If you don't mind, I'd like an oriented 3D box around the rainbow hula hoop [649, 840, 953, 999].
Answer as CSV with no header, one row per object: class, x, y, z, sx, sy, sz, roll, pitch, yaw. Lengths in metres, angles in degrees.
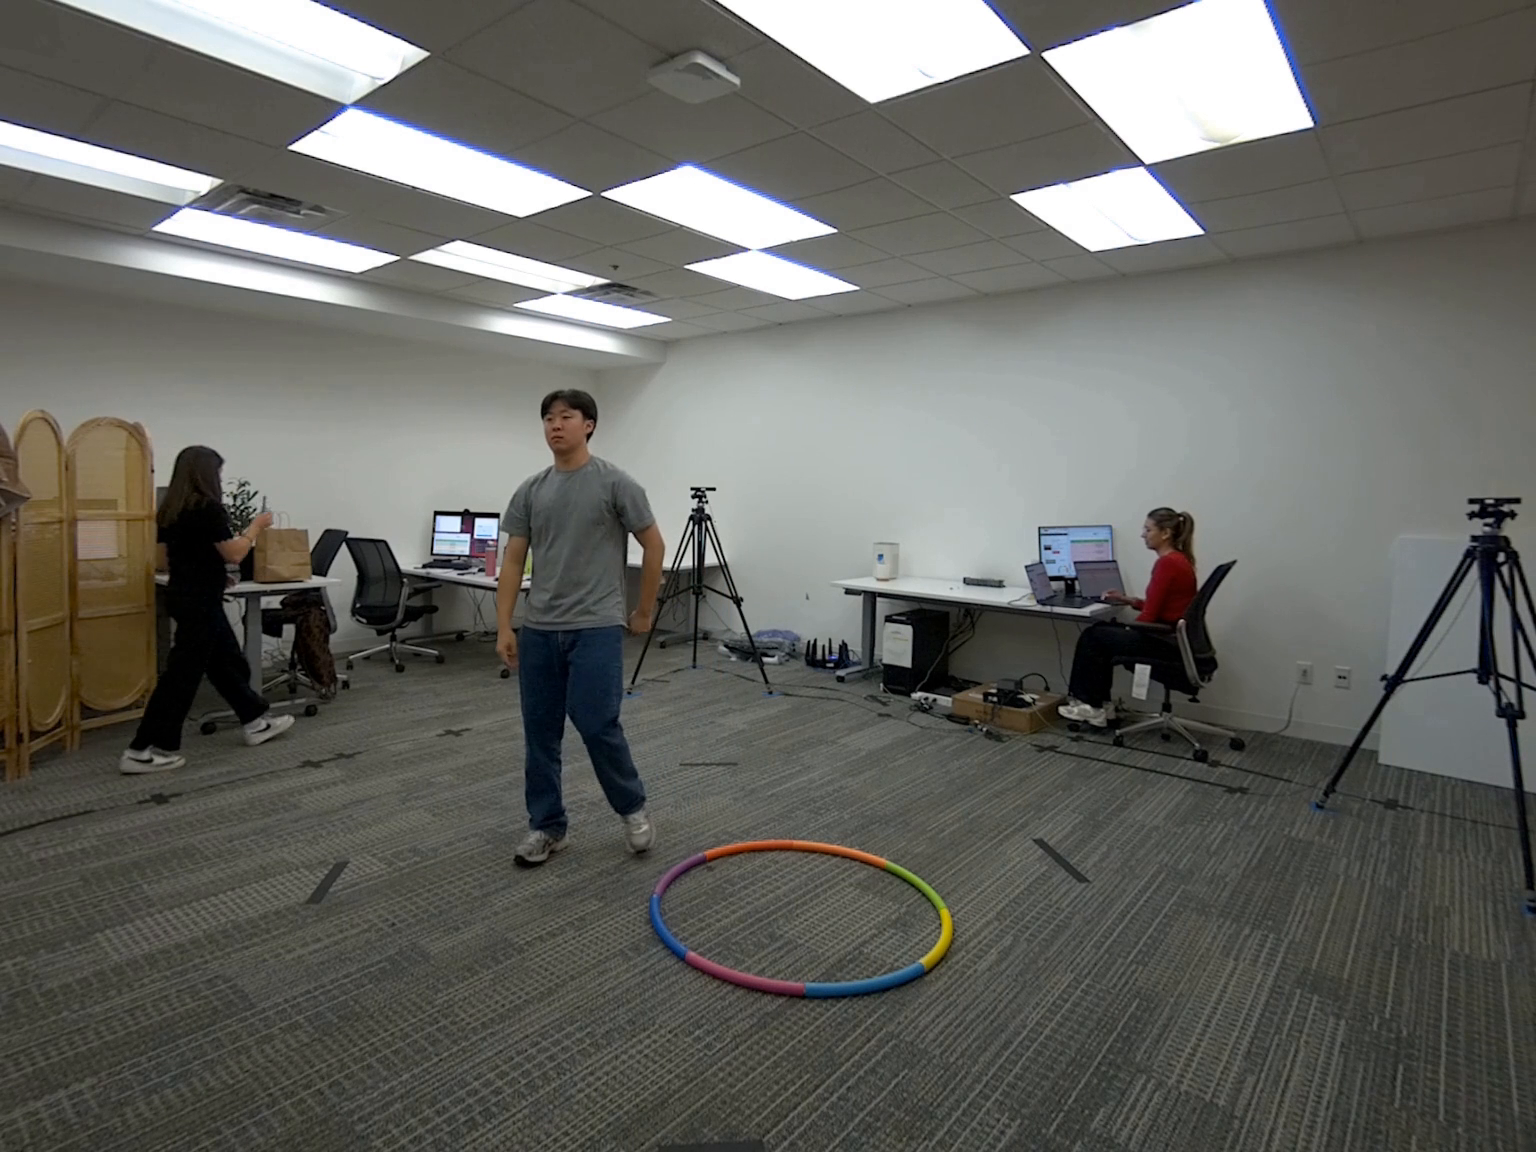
rainbow hula hoop,0.087,1.074,2.811,0.978,0.035,0.984,1,6,-2
